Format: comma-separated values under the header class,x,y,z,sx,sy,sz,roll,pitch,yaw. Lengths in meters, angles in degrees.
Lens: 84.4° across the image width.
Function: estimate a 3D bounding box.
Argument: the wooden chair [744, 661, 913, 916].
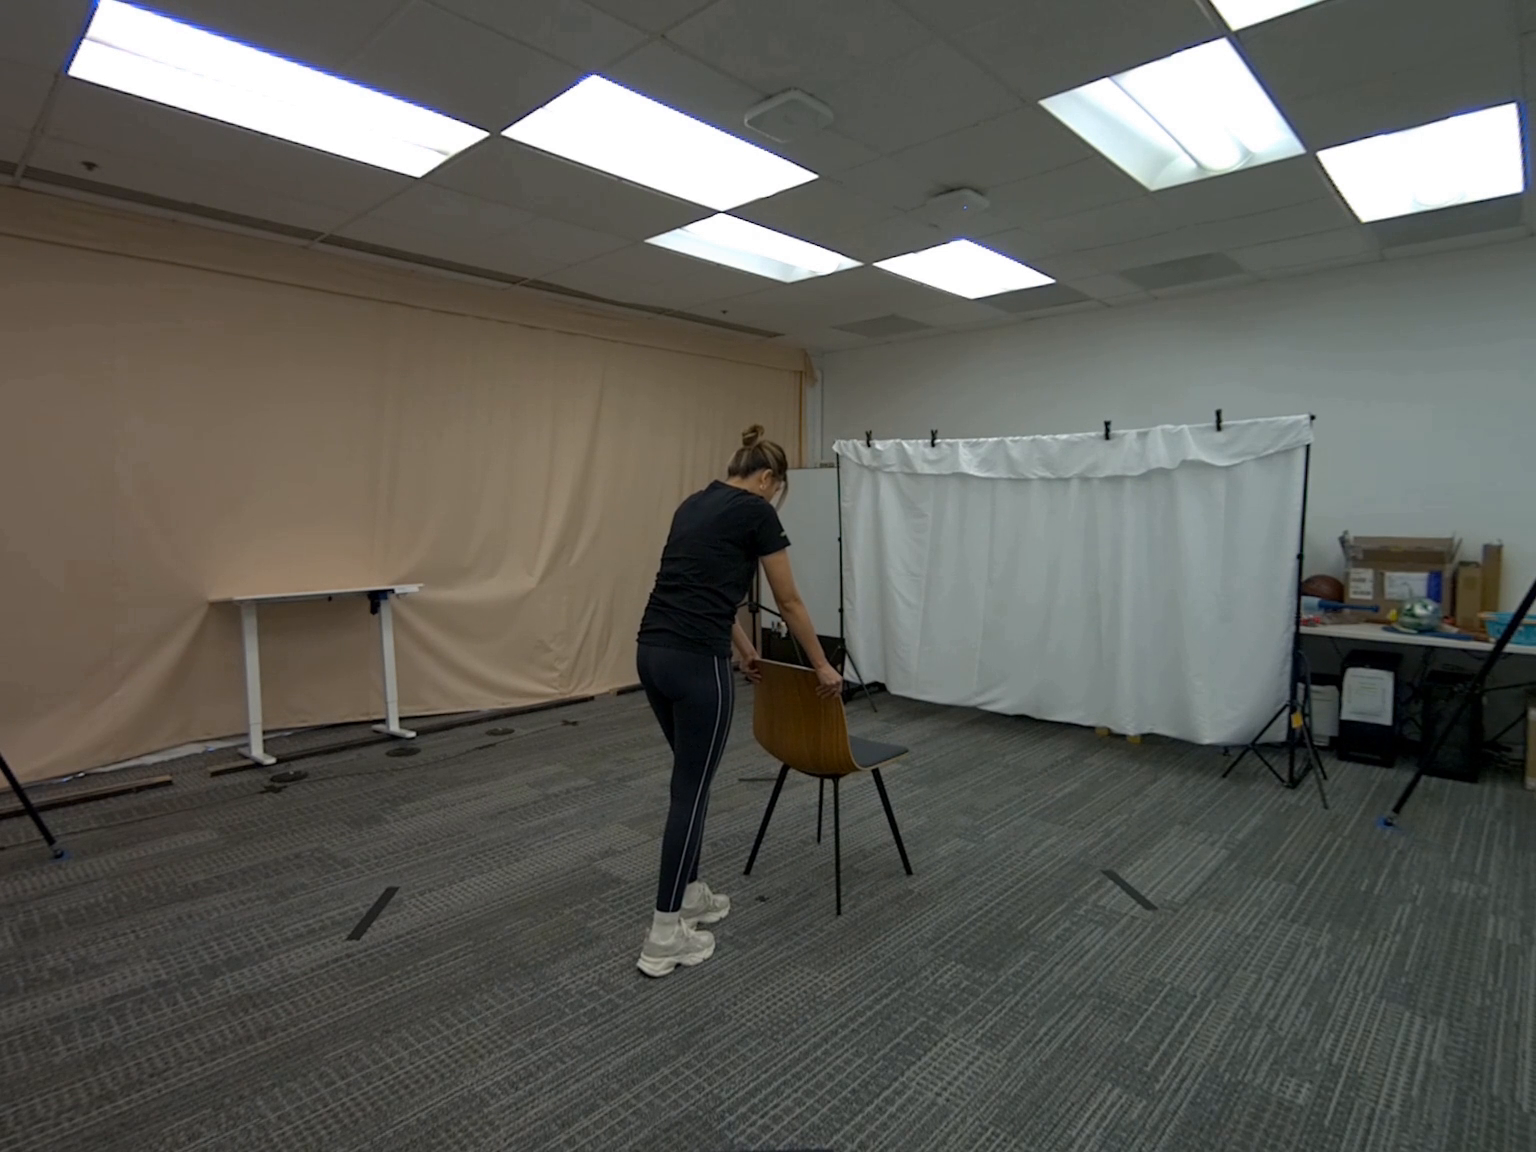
class,x,y,z,sx,sy,sz,roll,pitch,yaw
wooden chair,0.232,0.702,3.151,0.494,0.873,0.508,3,9,44
